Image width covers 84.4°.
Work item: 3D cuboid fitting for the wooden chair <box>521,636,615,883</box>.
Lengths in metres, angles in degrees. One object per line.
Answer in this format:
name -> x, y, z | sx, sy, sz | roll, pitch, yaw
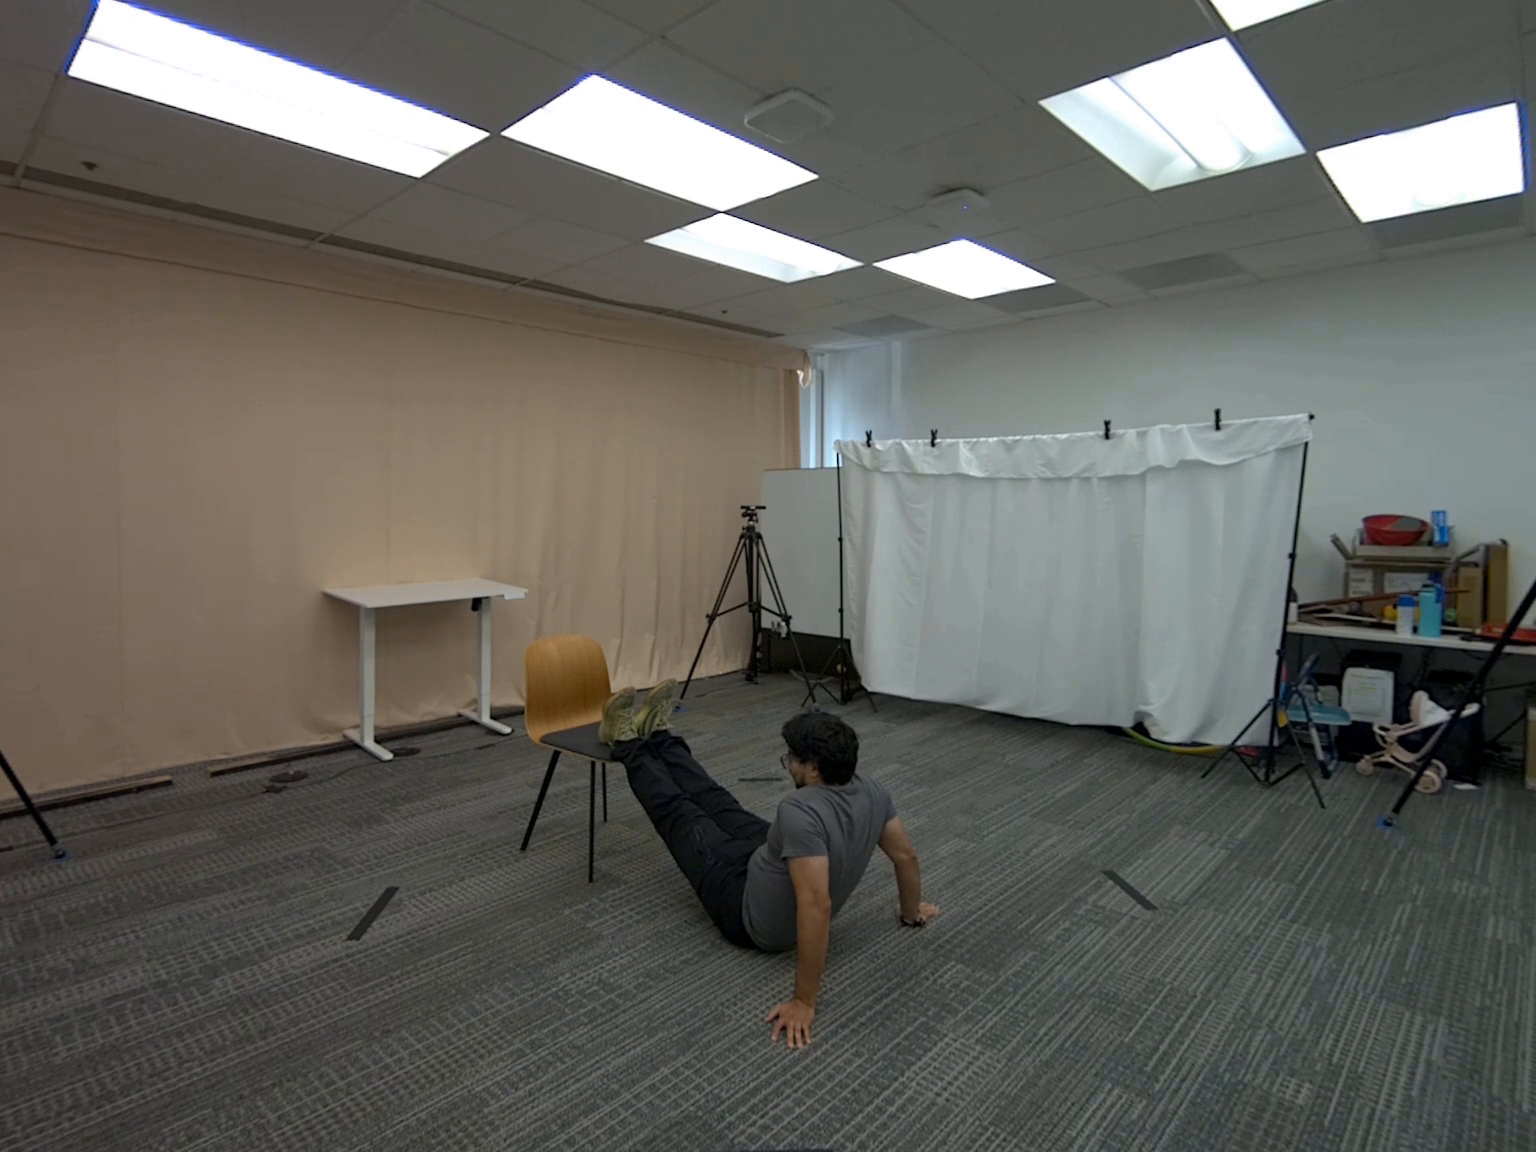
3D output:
wooden chair -> -0.688, 0.690, 3.402 | 0.539, 0.877, 0.463 | -3, 1, 42
